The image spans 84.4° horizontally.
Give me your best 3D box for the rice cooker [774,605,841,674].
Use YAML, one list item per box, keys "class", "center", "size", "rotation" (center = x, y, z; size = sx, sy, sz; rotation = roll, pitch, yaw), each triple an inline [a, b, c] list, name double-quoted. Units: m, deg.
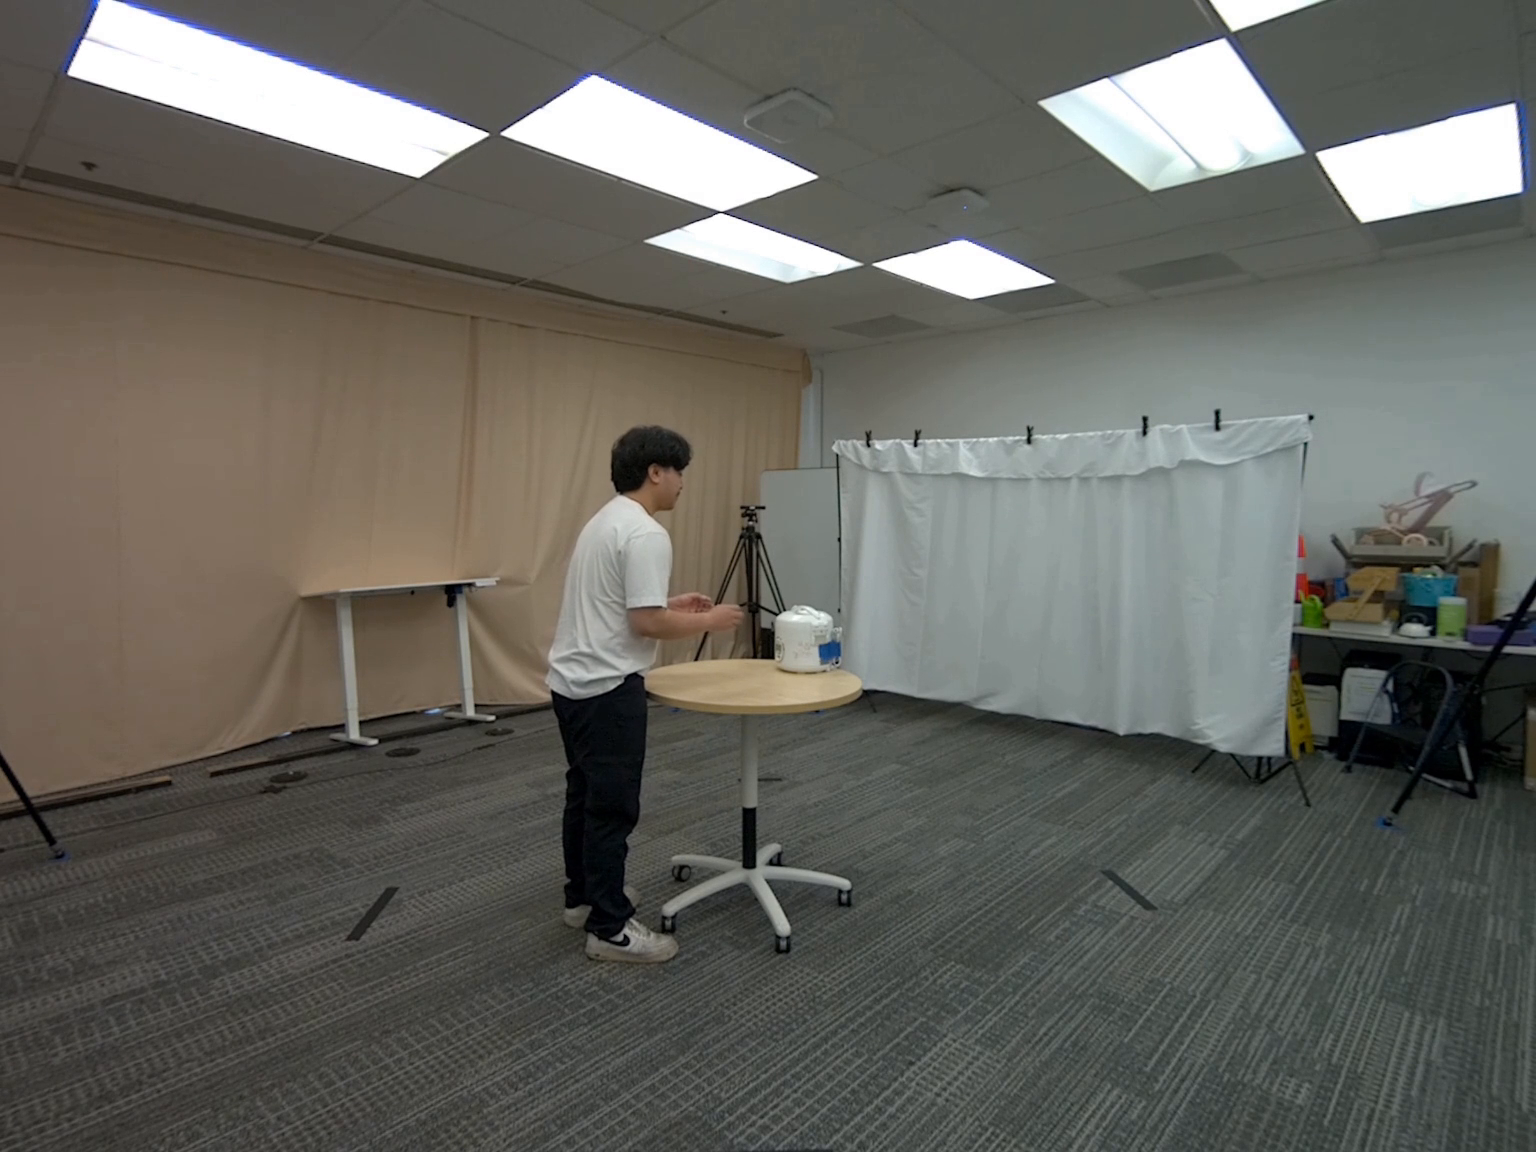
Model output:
- class: "rice cooker"
  center: [0.136, 0.225, 3.062]
  size: [0.212, 0.232, 0.227]
  rotation: [0, 3, -28]
